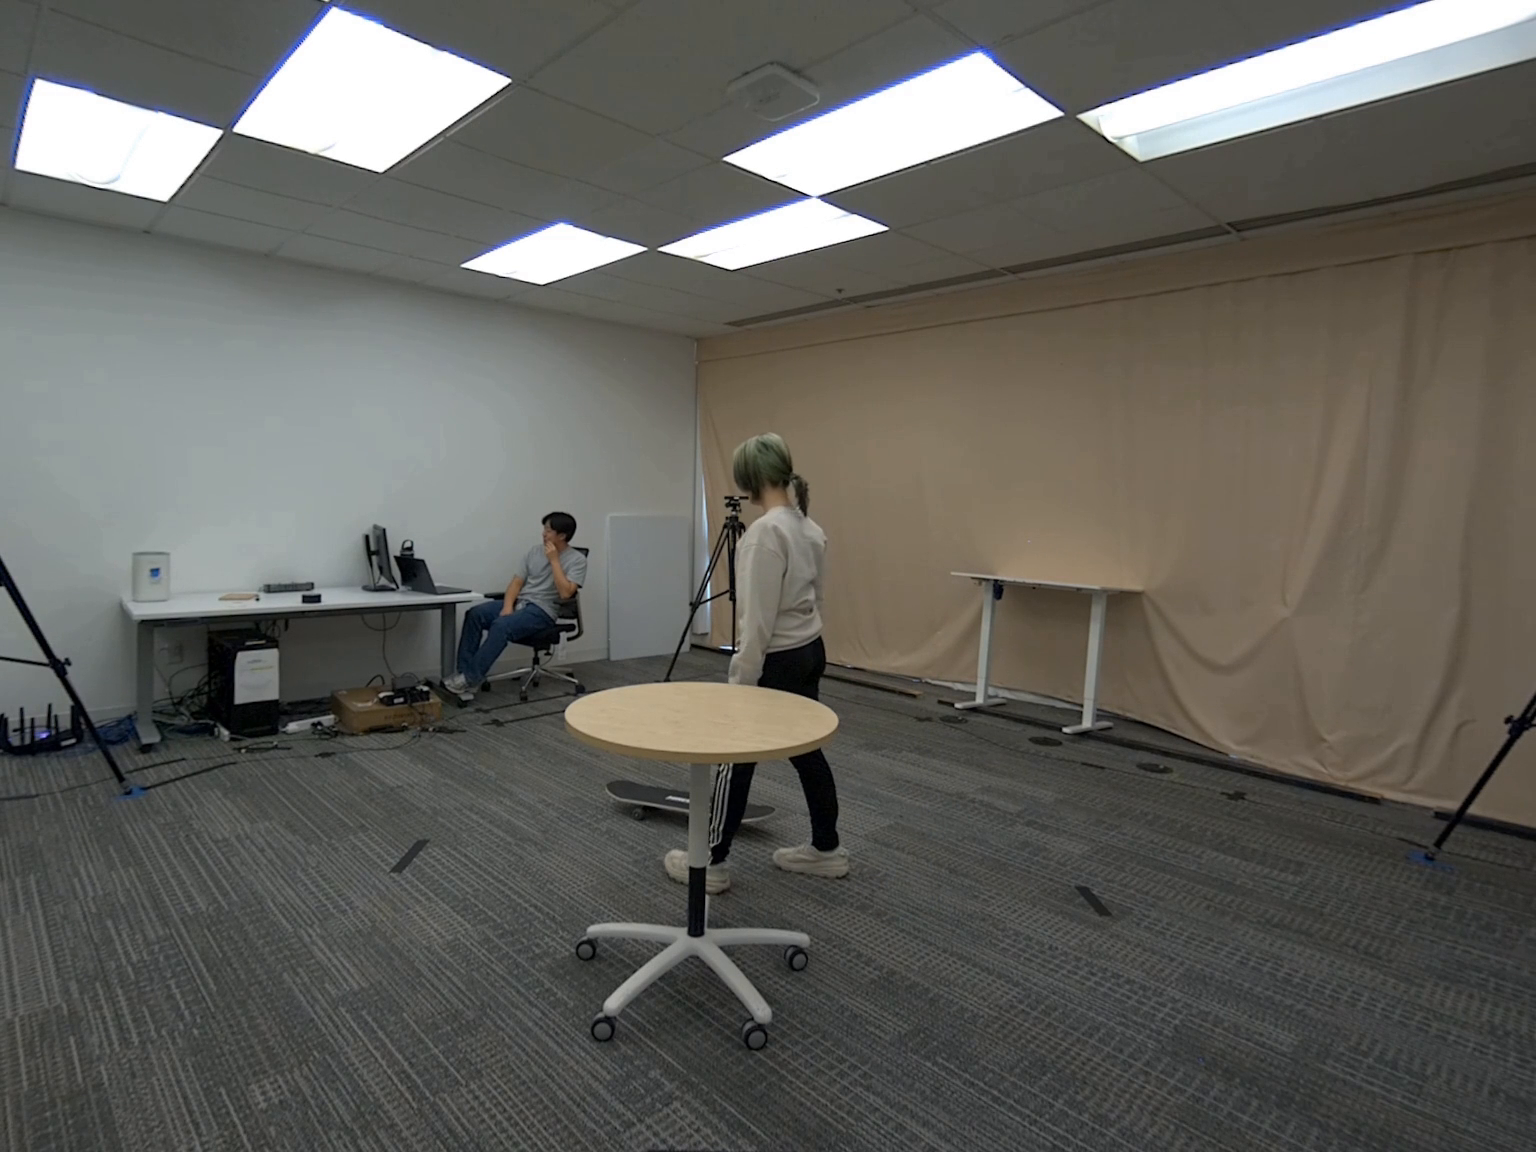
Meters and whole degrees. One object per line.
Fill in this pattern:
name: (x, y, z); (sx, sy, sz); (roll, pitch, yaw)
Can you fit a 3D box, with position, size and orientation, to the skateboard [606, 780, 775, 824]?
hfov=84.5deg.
skateboard: (-0.356, 0.995, 3.613); (0.799, 0.110, 0.190); (4, 5, 23)
